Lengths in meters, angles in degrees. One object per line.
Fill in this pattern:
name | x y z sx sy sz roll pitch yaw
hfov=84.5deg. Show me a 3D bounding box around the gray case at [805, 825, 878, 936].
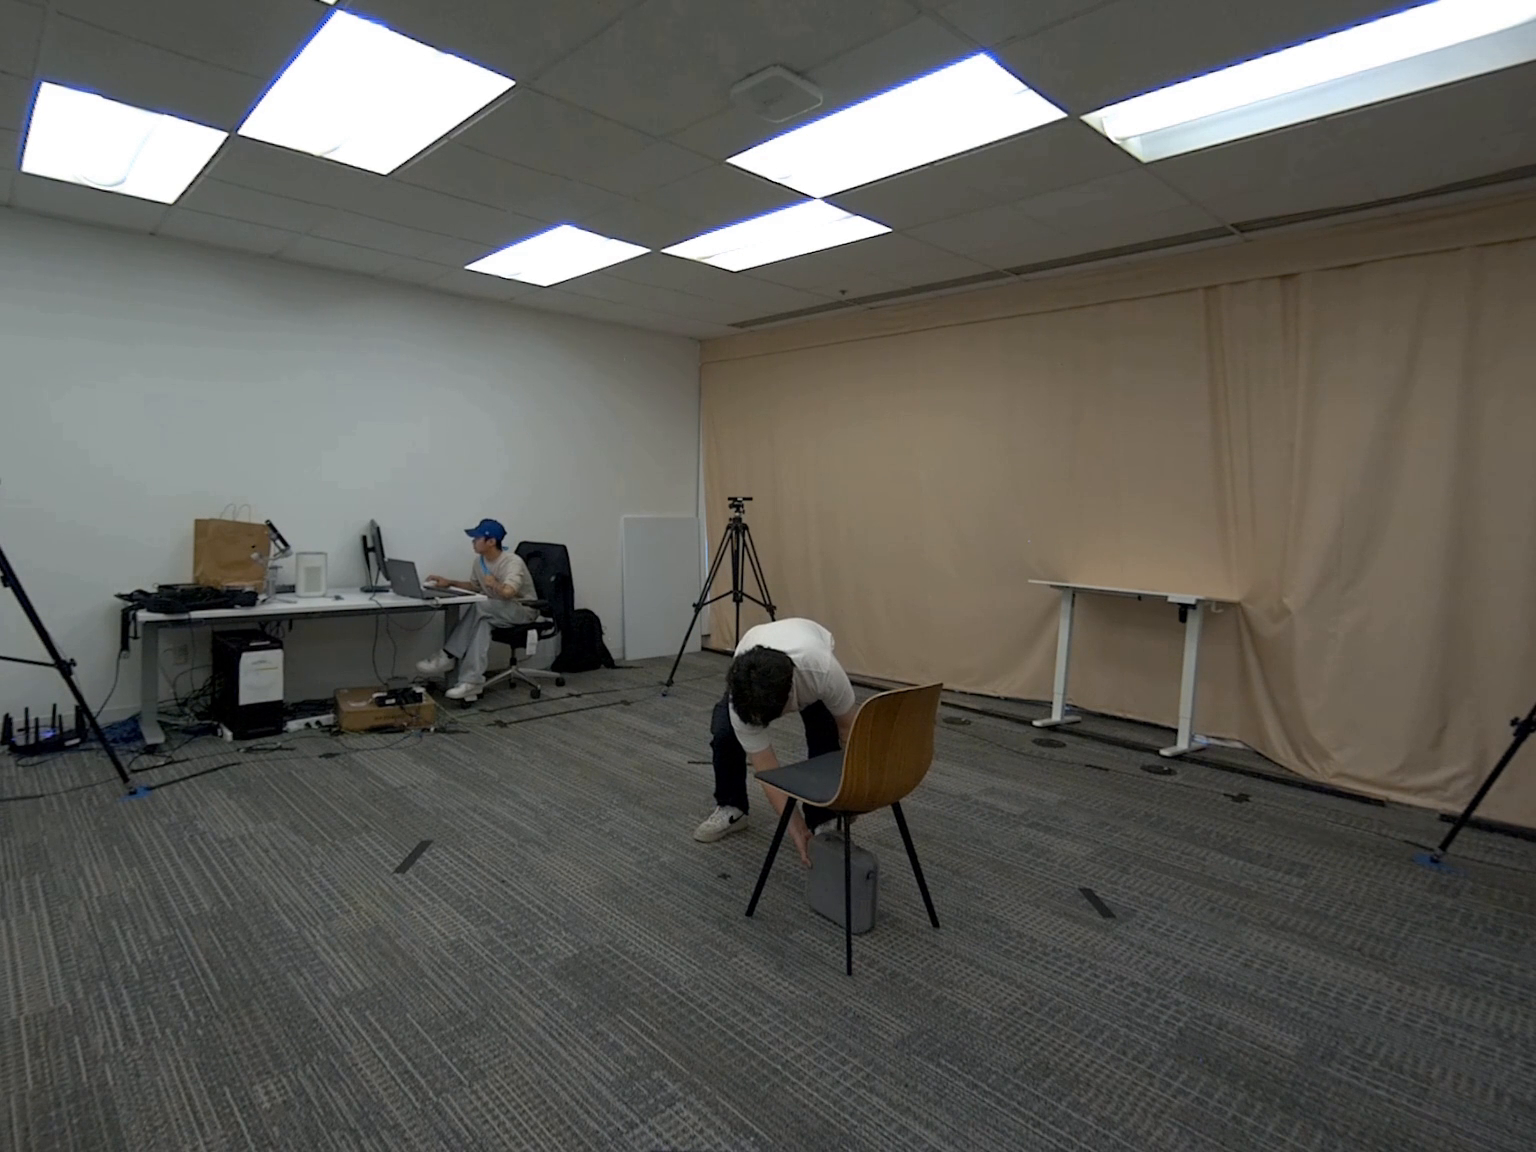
gray case | 0.242 1.013 2.785 0.102 0.259 0.264 -5 10 -41
